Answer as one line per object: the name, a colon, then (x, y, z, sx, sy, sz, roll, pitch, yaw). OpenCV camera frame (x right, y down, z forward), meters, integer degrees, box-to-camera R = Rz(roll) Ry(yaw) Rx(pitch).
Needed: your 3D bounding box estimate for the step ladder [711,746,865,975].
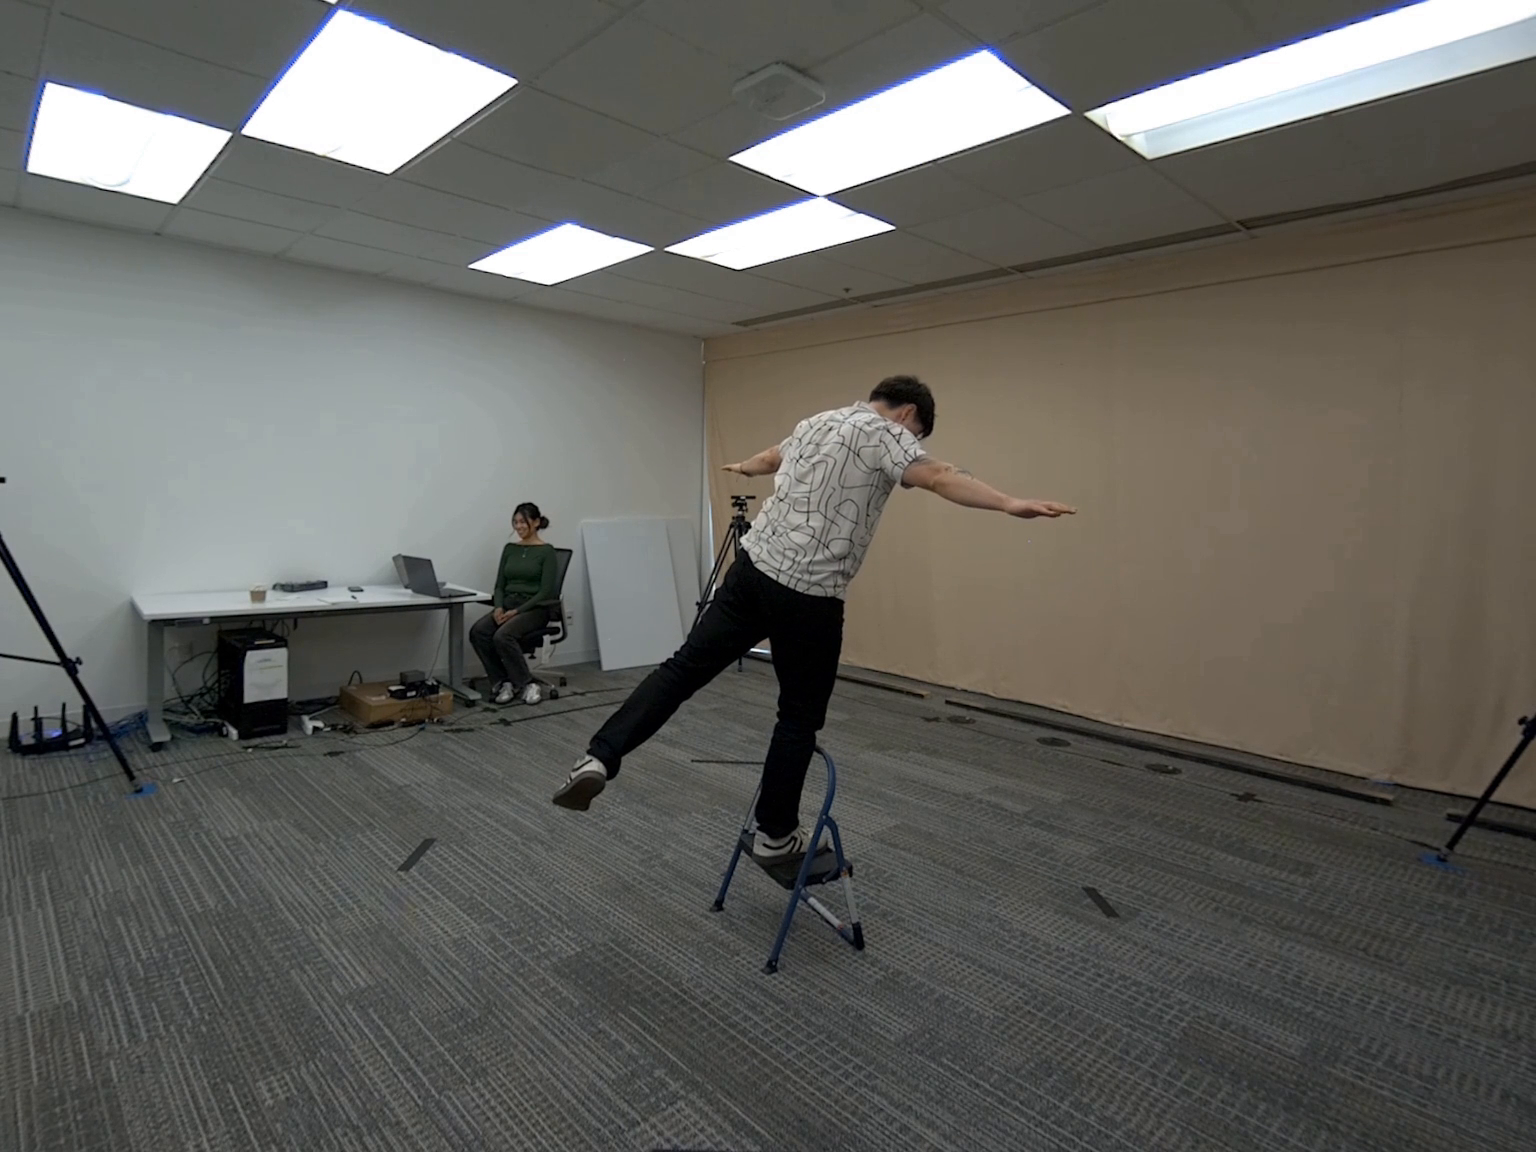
step ladder: (0.057, 0.841, 2.703, 0.343, 0.604, 0.440, -1, 4, -27)
